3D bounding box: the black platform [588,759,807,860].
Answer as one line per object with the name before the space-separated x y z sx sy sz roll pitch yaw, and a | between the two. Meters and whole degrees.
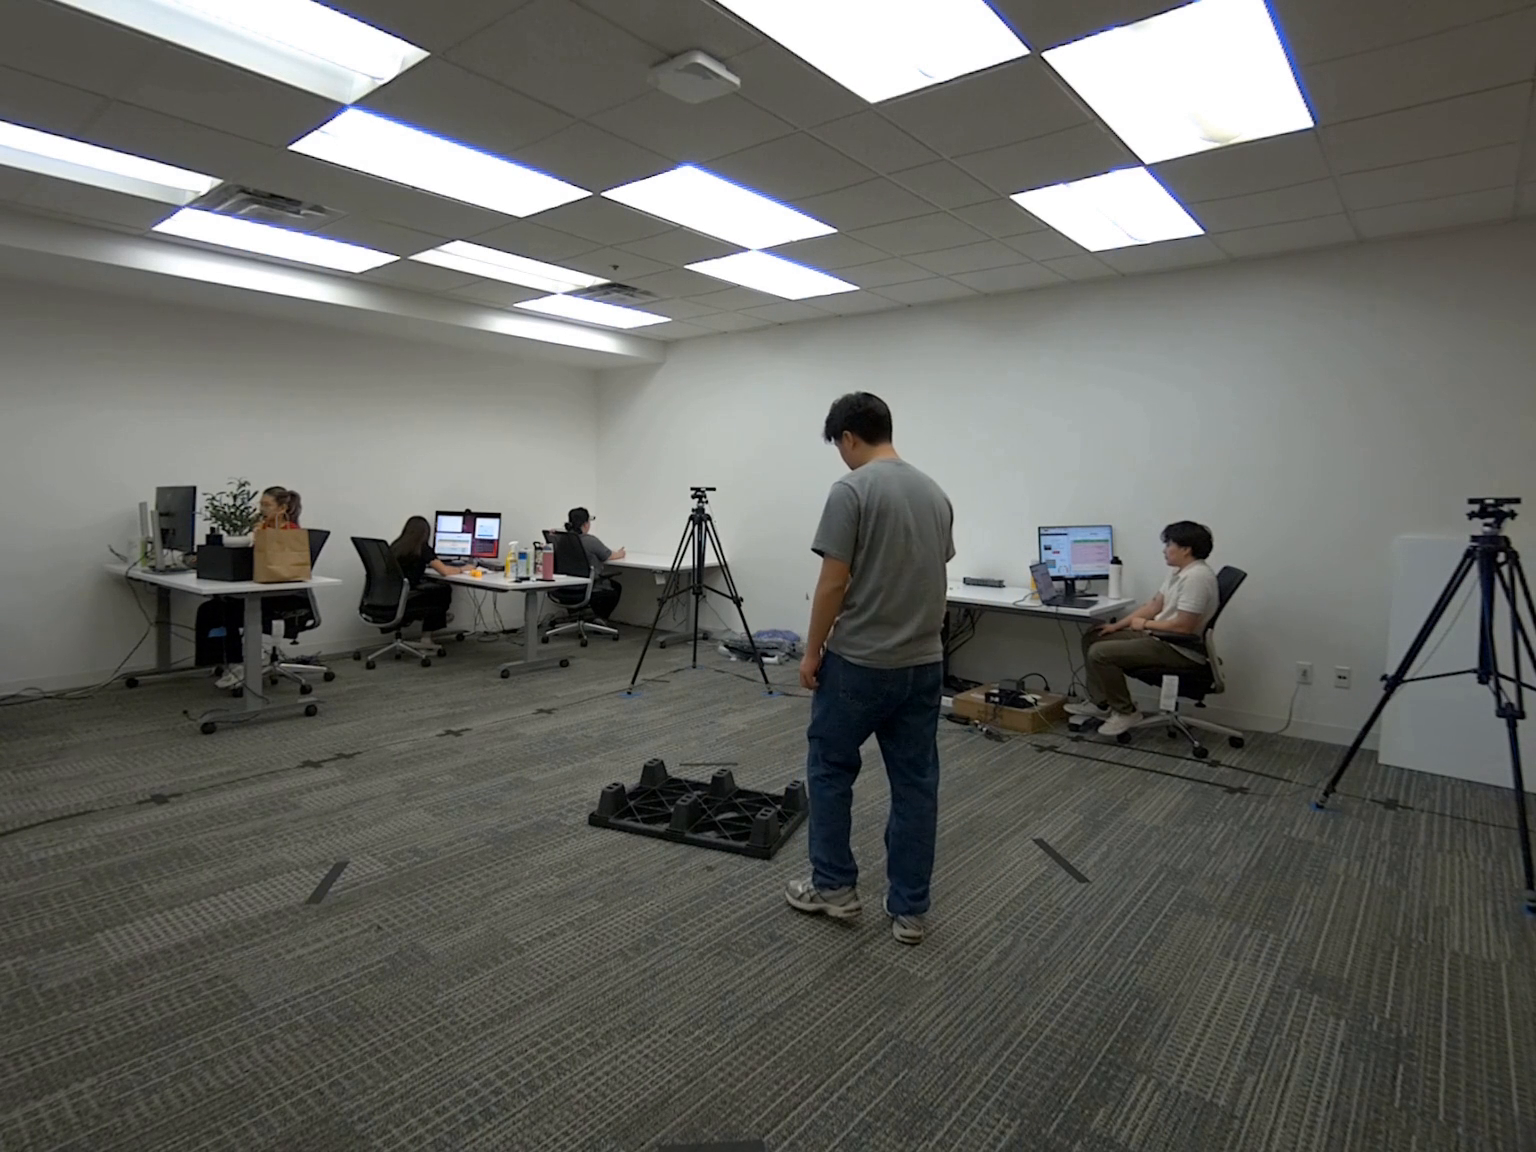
black platform | -0.274 0.948 3.605 0.824 0.143 0.594 4 6 21
